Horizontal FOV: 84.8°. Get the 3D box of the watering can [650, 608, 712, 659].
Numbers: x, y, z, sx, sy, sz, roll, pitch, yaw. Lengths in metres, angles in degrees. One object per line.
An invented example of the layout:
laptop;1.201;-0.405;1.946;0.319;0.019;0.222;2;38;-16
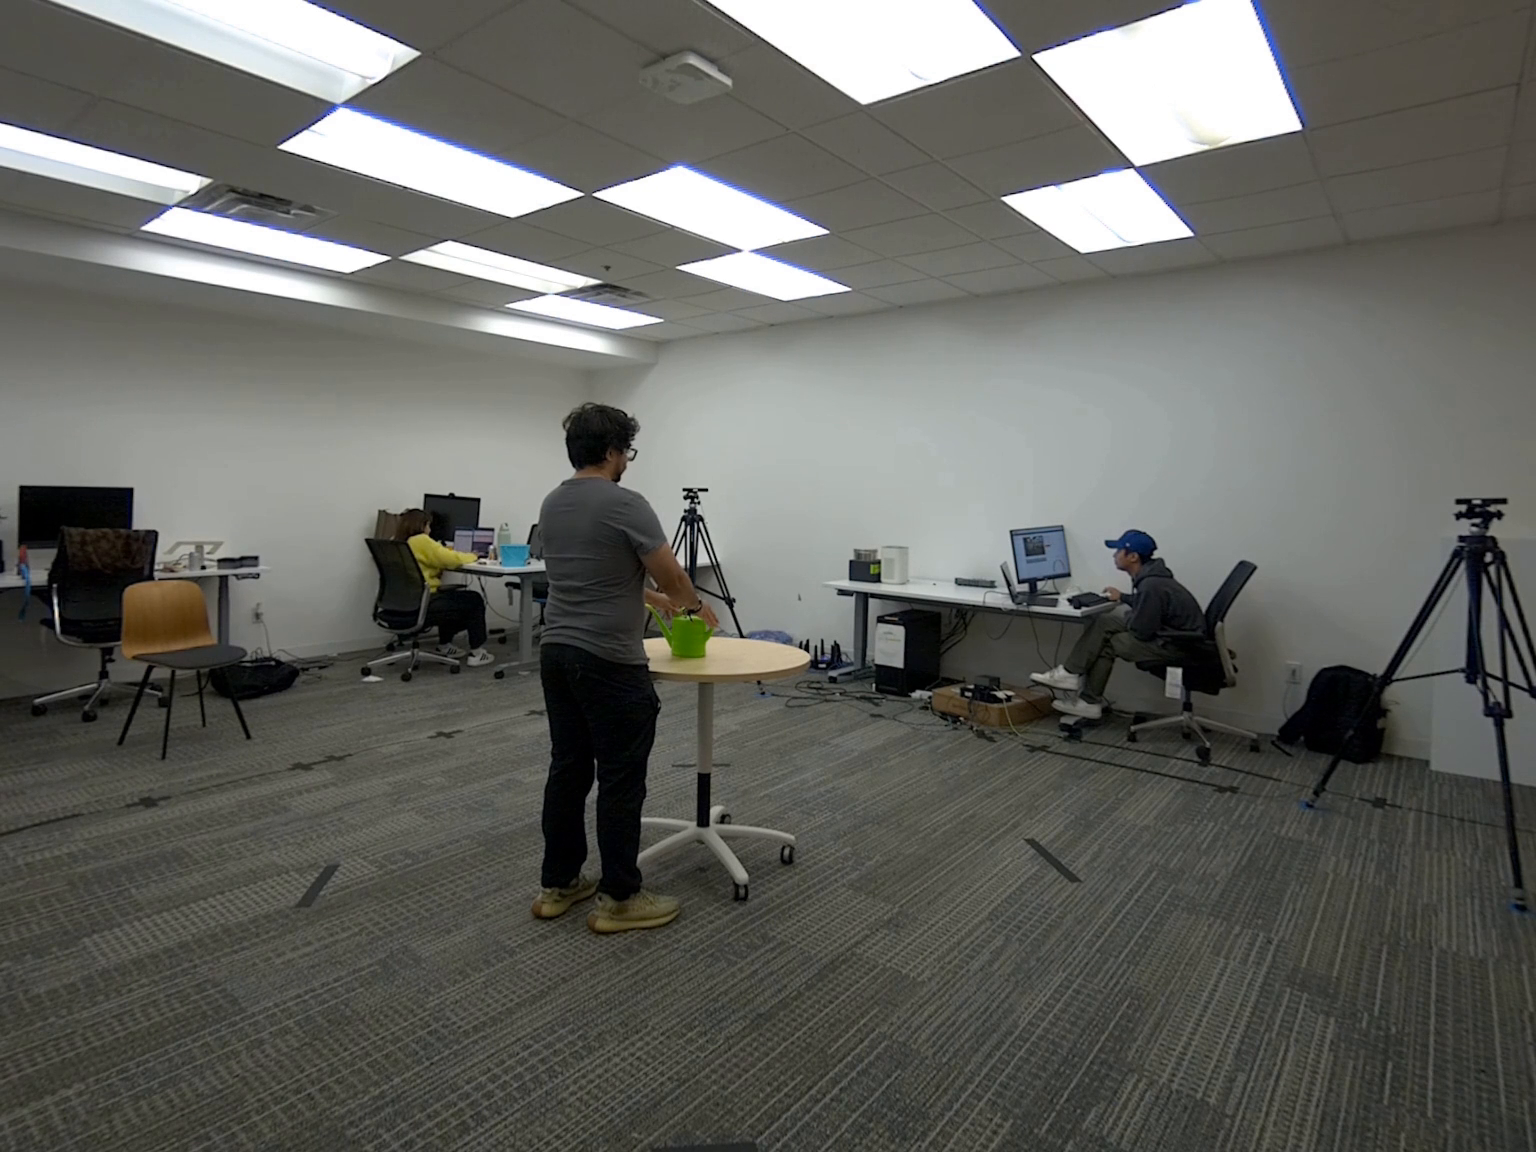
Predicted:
watering can;-0.340;0.198;3.111;0.286;0.176;0.096;6;8;26
